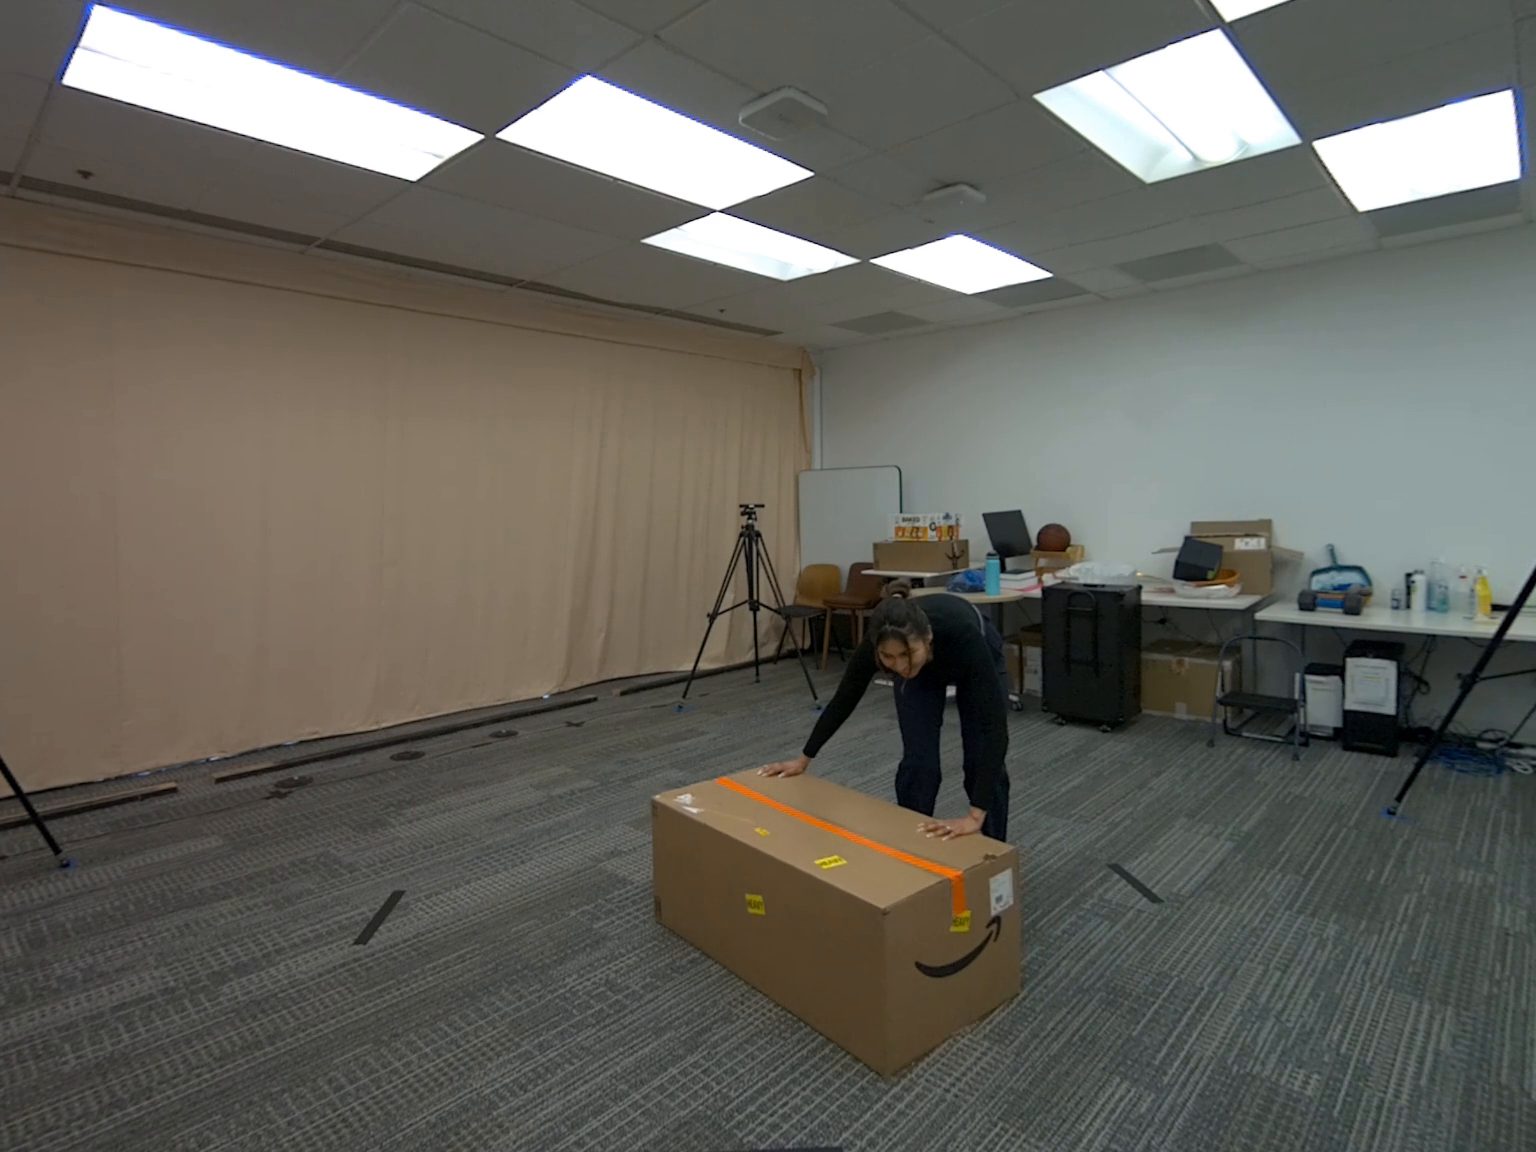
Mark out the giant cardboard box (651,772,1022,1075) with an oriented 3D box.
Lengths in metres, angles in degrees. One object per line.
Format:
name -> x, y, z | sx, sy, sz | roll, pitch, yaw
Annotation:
giant cardboard box -> 0.157, 0.956, 2.598 | 0.560, 0.425, 1.059 | -3, 5, -39
